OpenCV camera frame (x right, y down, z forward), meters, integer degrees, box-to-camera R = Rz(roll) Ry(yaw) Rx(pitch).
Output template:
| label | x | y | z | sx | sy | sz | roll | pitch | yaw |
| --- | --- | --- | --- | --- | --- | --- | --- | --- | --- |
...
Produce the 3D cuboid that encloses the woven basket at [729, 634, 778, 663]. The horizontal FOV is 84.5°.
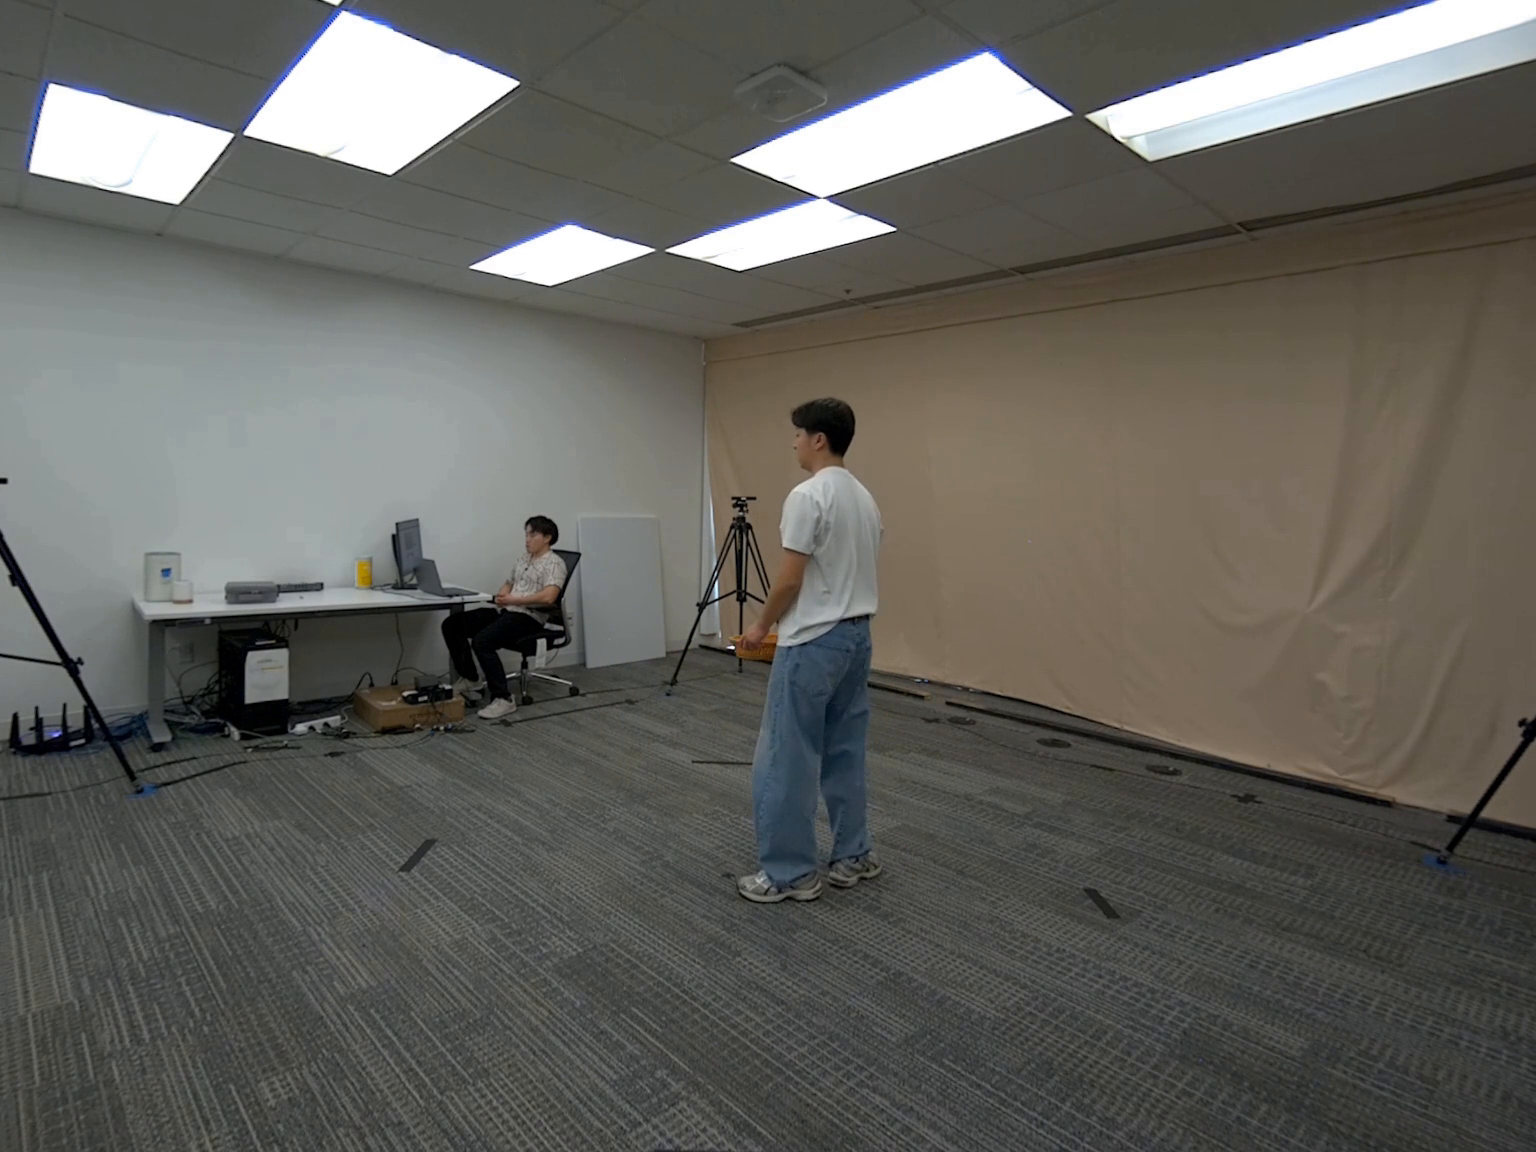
| label | x | y | z | sx | sy | sz | roll | pitch | yaw |
| --- | --- | --- | --- | --- | --- | --- | --- | --- | --- |
| woven basket | 0.022 | 0.276 | 3.267 | 0.342 | 0.073 | 0.259 | 0 | 4 | -39 |
